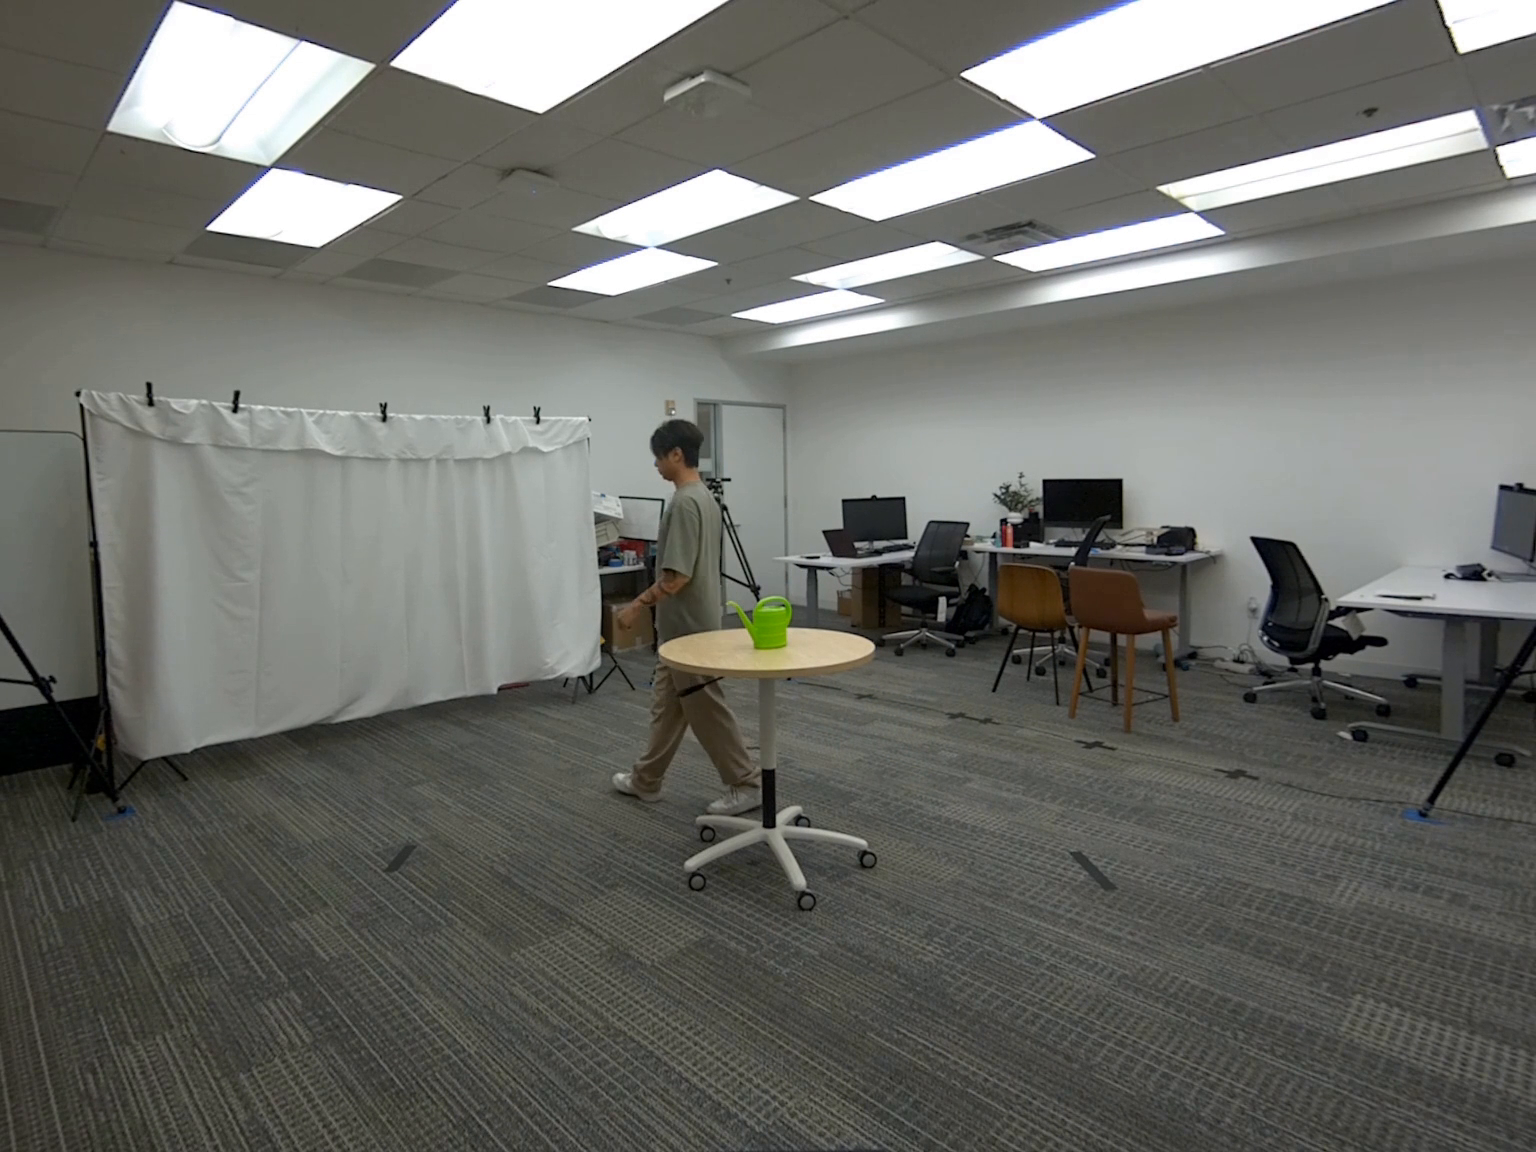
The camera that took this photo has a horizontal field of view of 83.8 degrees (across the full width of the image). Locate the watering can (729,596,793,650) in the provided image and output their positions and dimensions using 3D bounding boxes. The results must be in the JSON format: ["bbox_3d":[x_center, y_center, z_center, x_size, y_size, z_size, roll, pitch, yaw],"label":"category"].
[{"bbox_3d":[-0.029,0.164,3.023,0.273,0.176,0.100,-2,3,-23],"label":"watering can"}]
